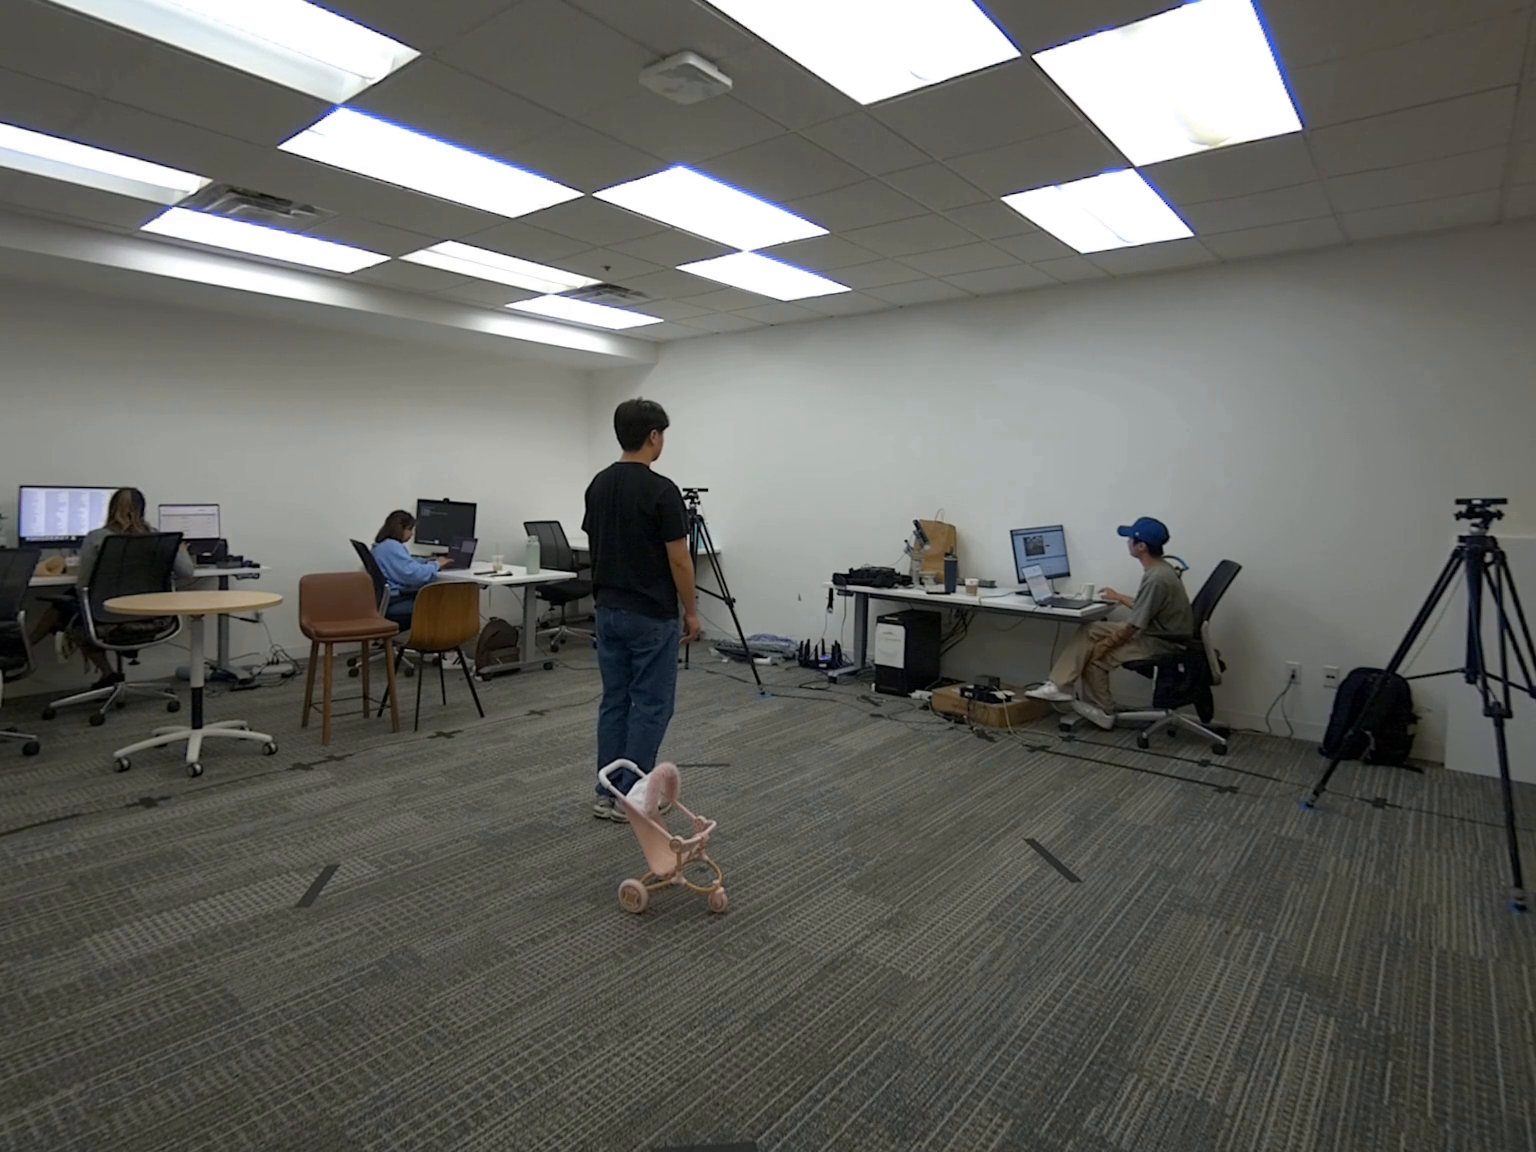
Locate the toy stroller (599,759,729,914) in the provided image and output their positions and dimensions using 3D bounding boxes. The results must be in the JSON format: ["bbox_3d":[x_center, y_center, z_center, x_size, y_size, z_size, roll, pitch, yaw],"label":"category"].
[{"bbox_3d":[-0.344,0.866,2.858,0.348,0.537,0.275,-15,-3,26],"label":"toy stroller"}]
